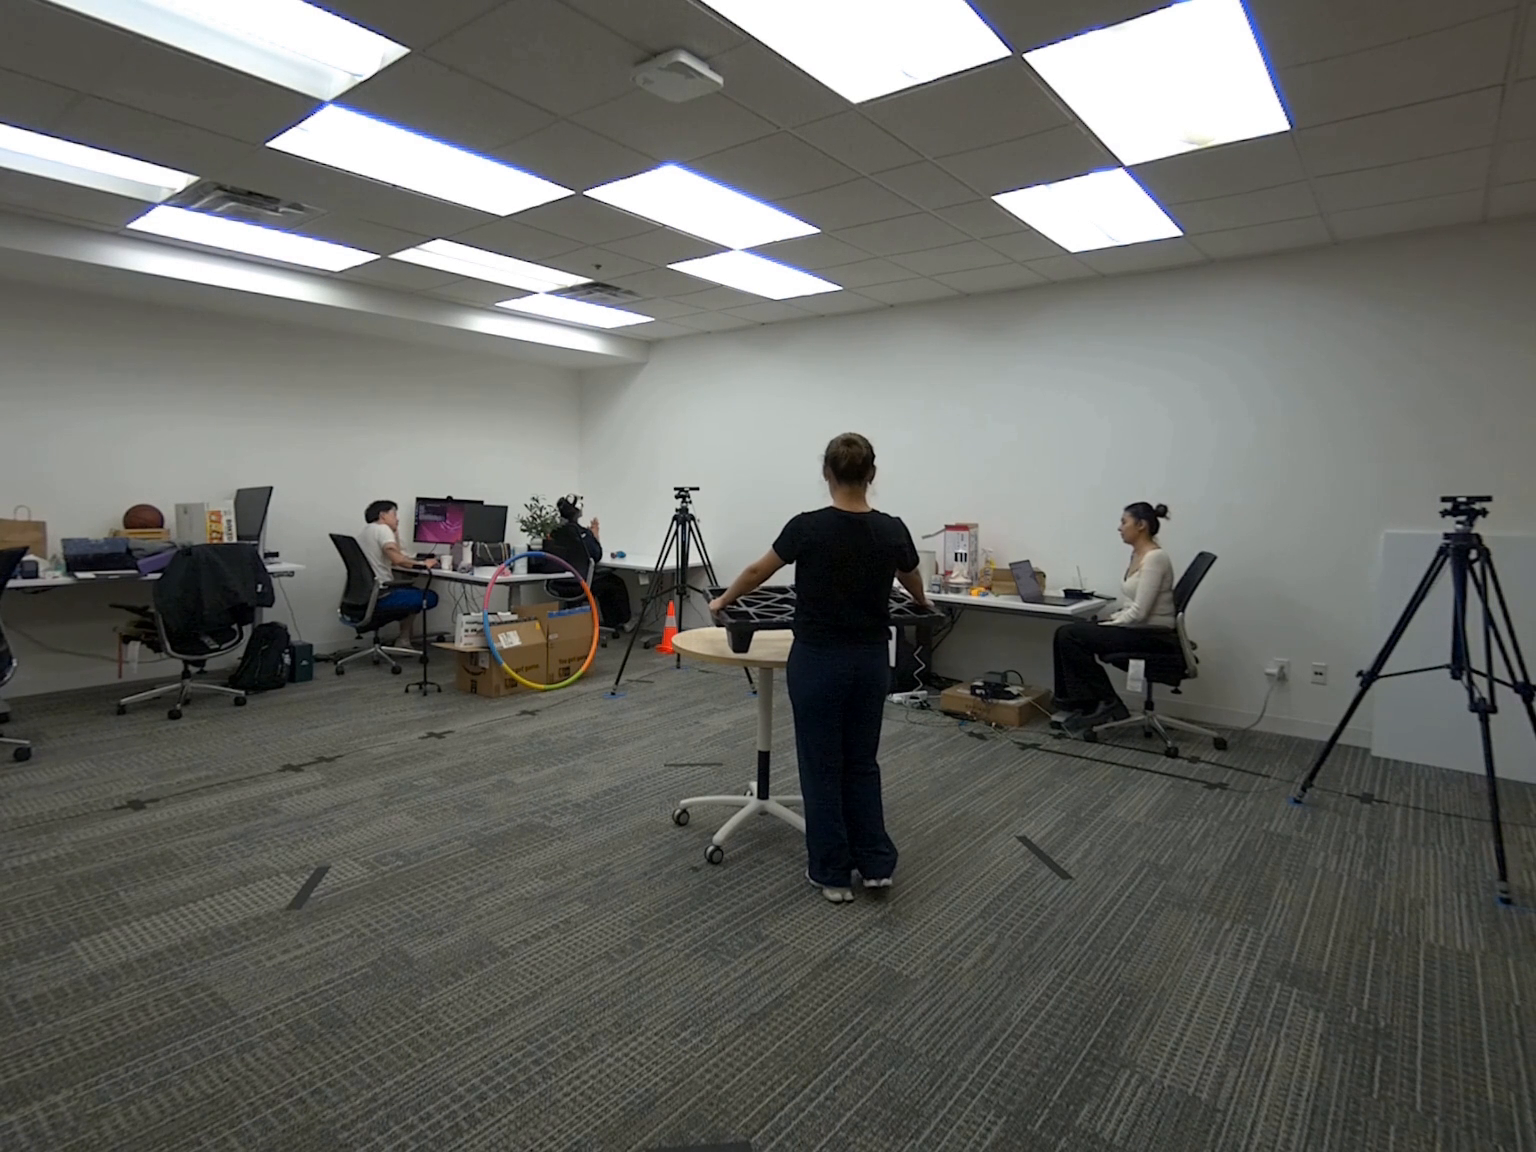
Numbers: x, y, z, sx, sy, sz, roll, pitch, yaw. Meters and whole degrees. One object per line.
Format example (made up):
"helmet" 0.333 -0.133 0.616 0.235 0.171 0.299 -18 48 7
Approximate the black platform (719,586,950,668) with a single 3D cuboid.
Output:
"black platform" 0.210 0.155 3.284 0.798 0.142 0.617 -1 11 -10
